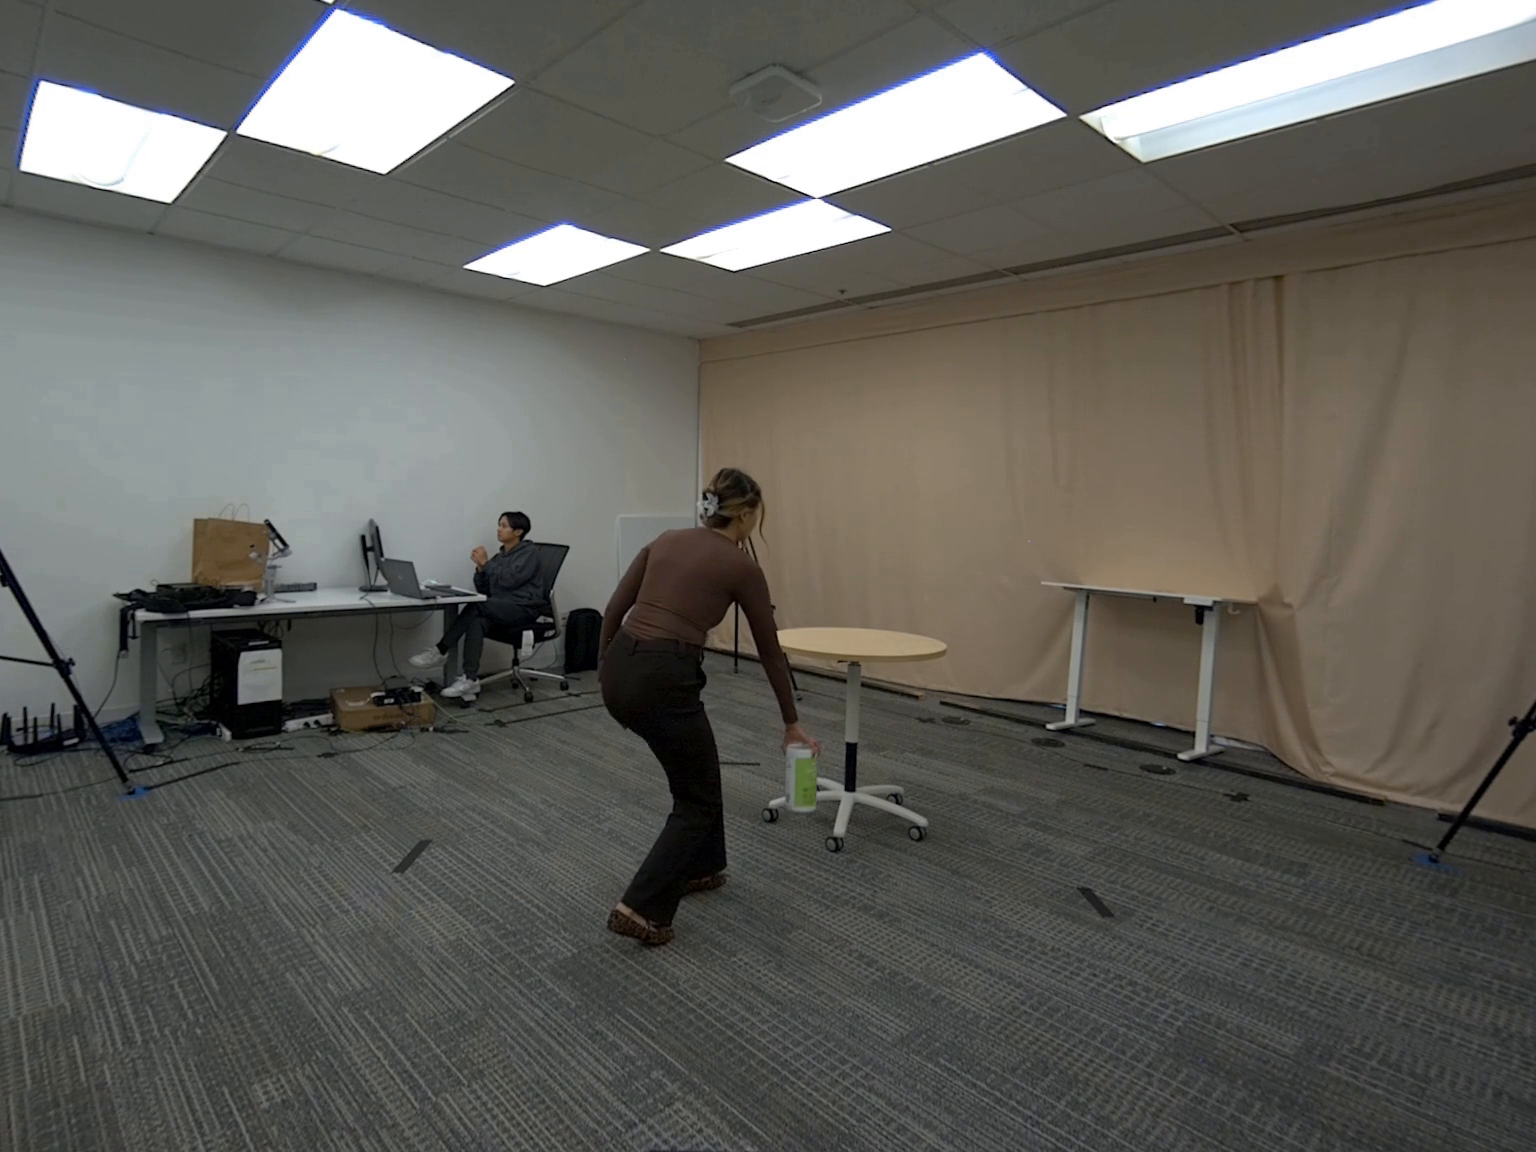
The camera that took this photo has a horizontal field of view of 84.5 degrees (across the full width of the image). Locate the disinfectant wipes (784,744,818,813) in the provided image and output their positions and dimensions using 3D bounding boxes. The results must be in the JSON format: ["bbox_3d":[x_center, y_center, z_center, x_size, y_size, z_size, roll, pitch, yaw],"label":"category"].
[{"bbox_3d":[0.105,0.701,2.933,0.118,0.217,0.118,2,0,-1],"label":"disinfectant wipes"}]
